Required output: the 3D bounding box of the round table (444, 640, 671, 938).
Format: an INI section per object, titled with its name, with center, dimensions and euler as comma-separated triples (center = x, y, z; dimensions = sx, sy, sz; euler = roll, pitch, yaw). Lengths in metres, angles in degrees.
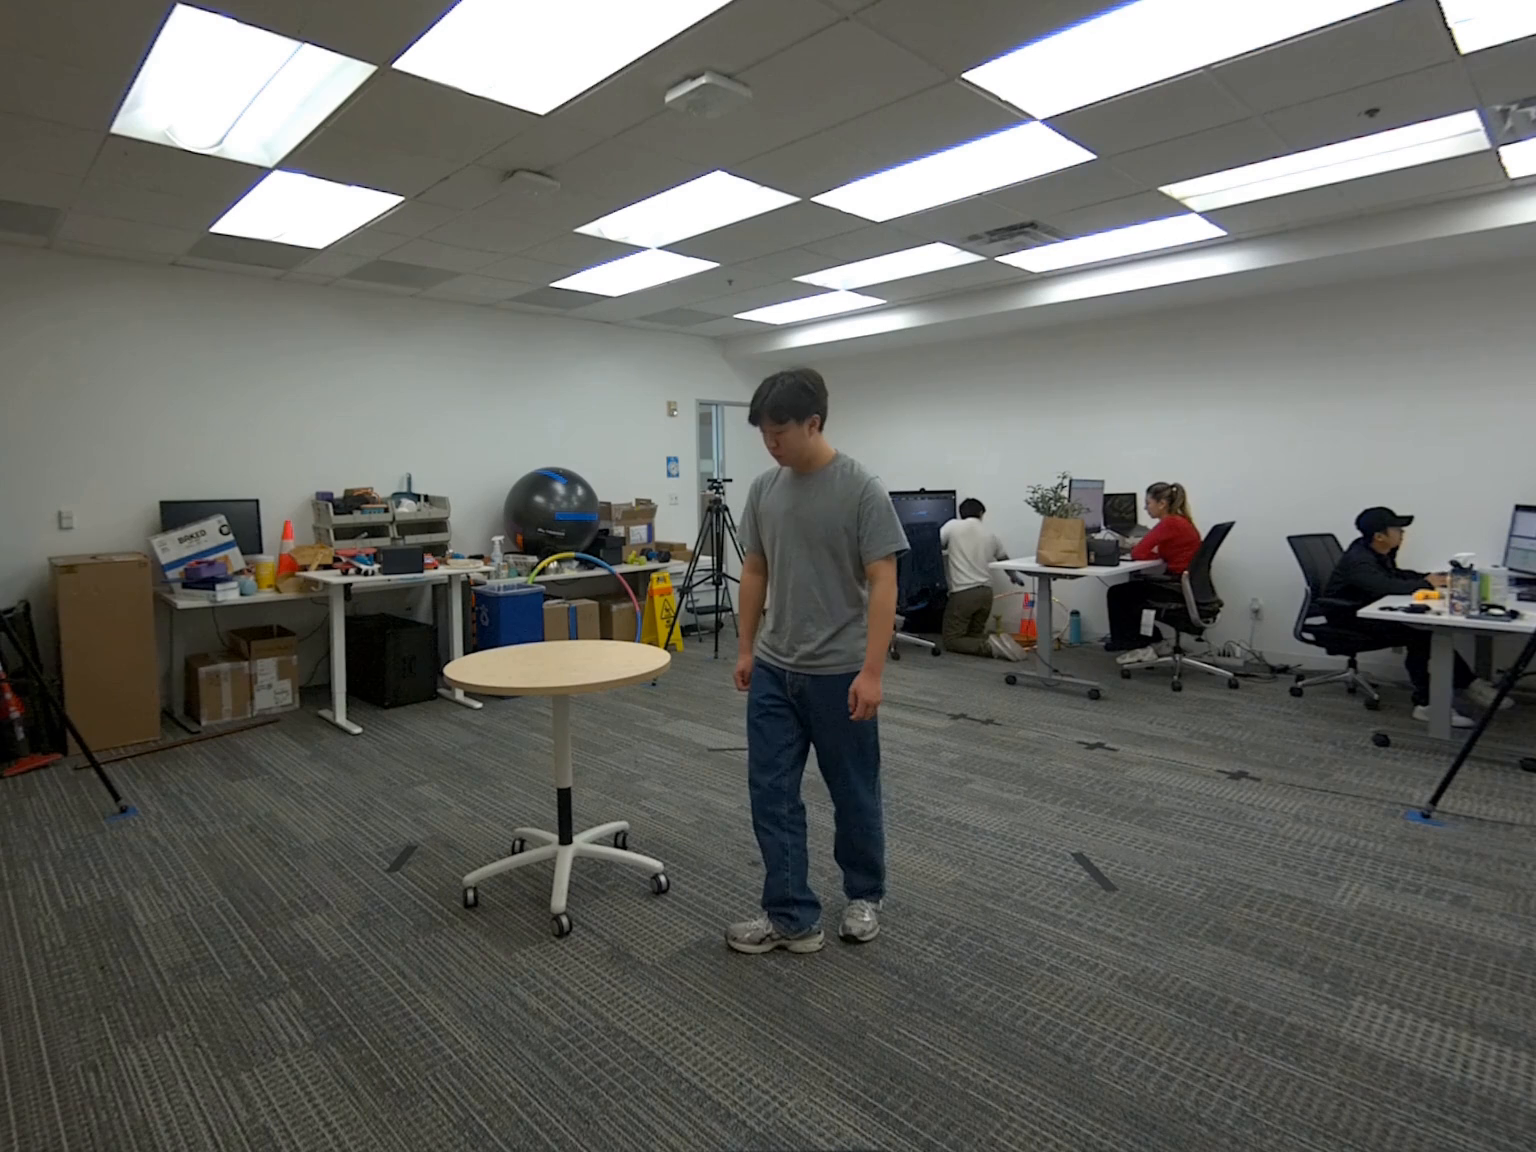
[round table]
center = -0.703, 0.685, 2.970
dimensions = 0.763, 0.791, 0.768
euler = -2, 5, -2
